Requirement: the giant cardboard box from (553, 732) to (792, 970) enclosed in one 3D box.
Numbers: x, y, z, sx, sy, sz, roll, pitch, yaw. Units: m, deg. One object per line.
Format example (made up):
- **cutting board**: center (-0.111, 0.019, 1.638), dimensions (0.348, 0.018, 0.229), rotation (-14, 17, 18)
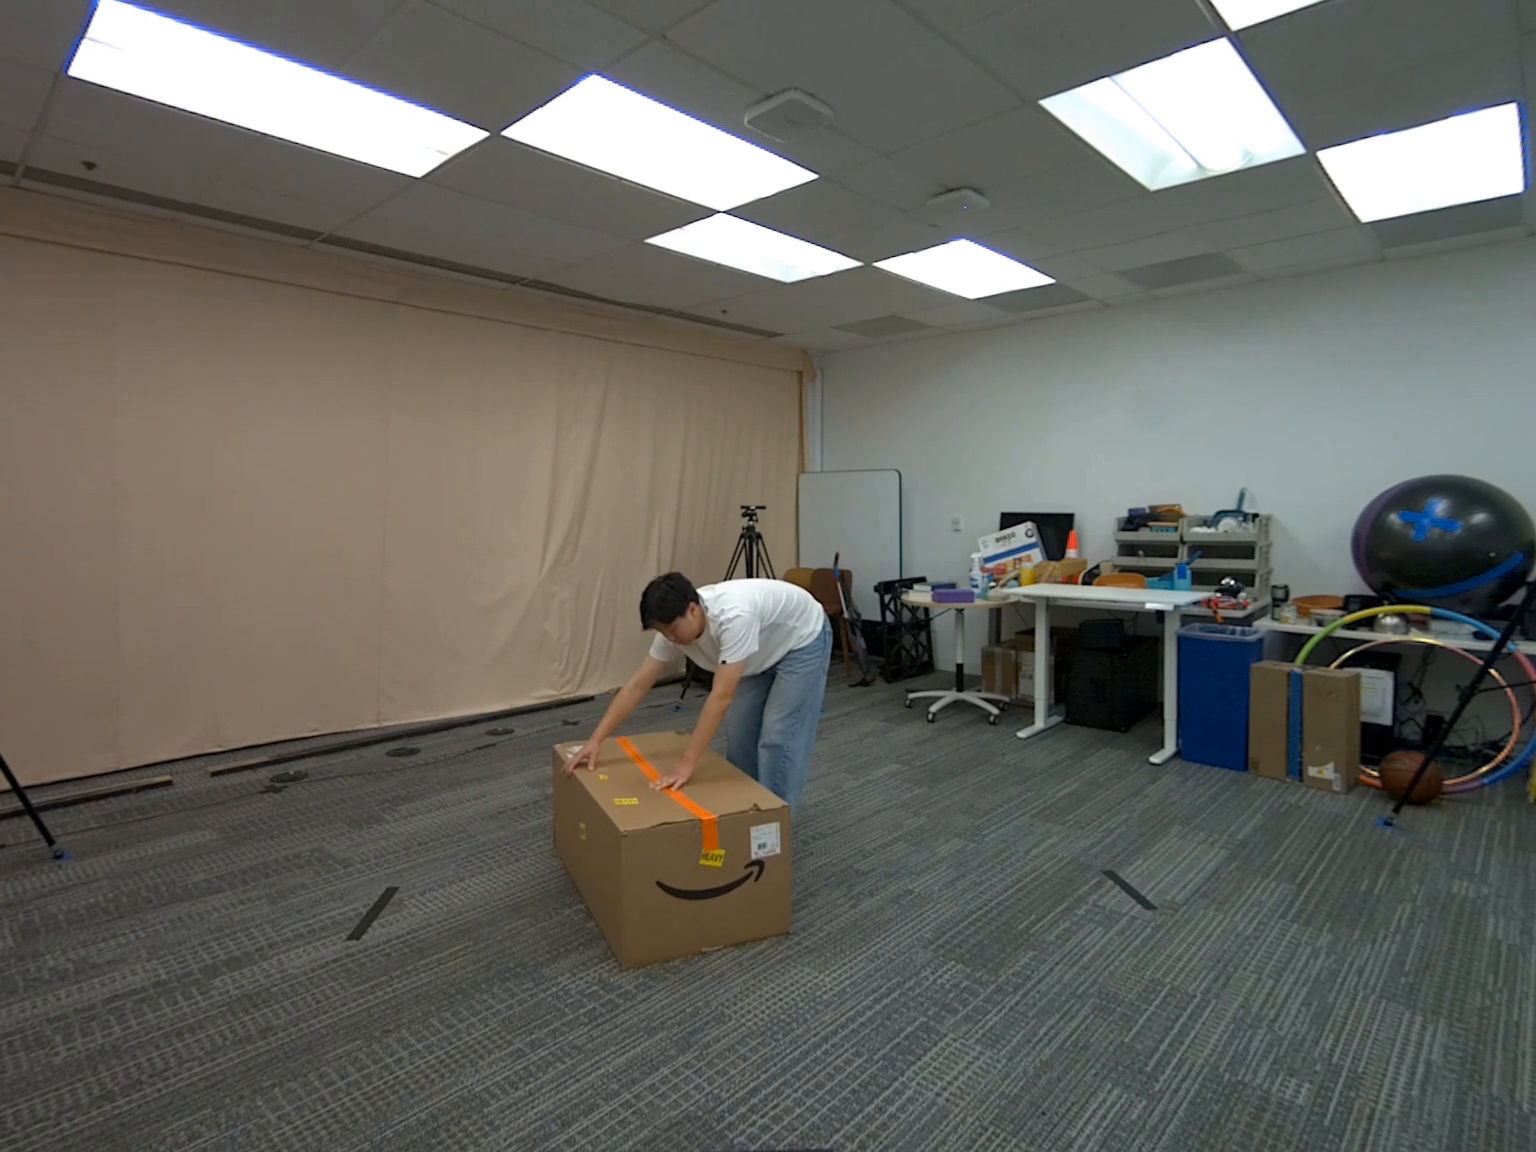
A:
- **giant cardboard box**: center (-0.406, 0.925, 3.084), dimensions (0.564, 0.425, 1.052), rotation (-2, 5, -25)
